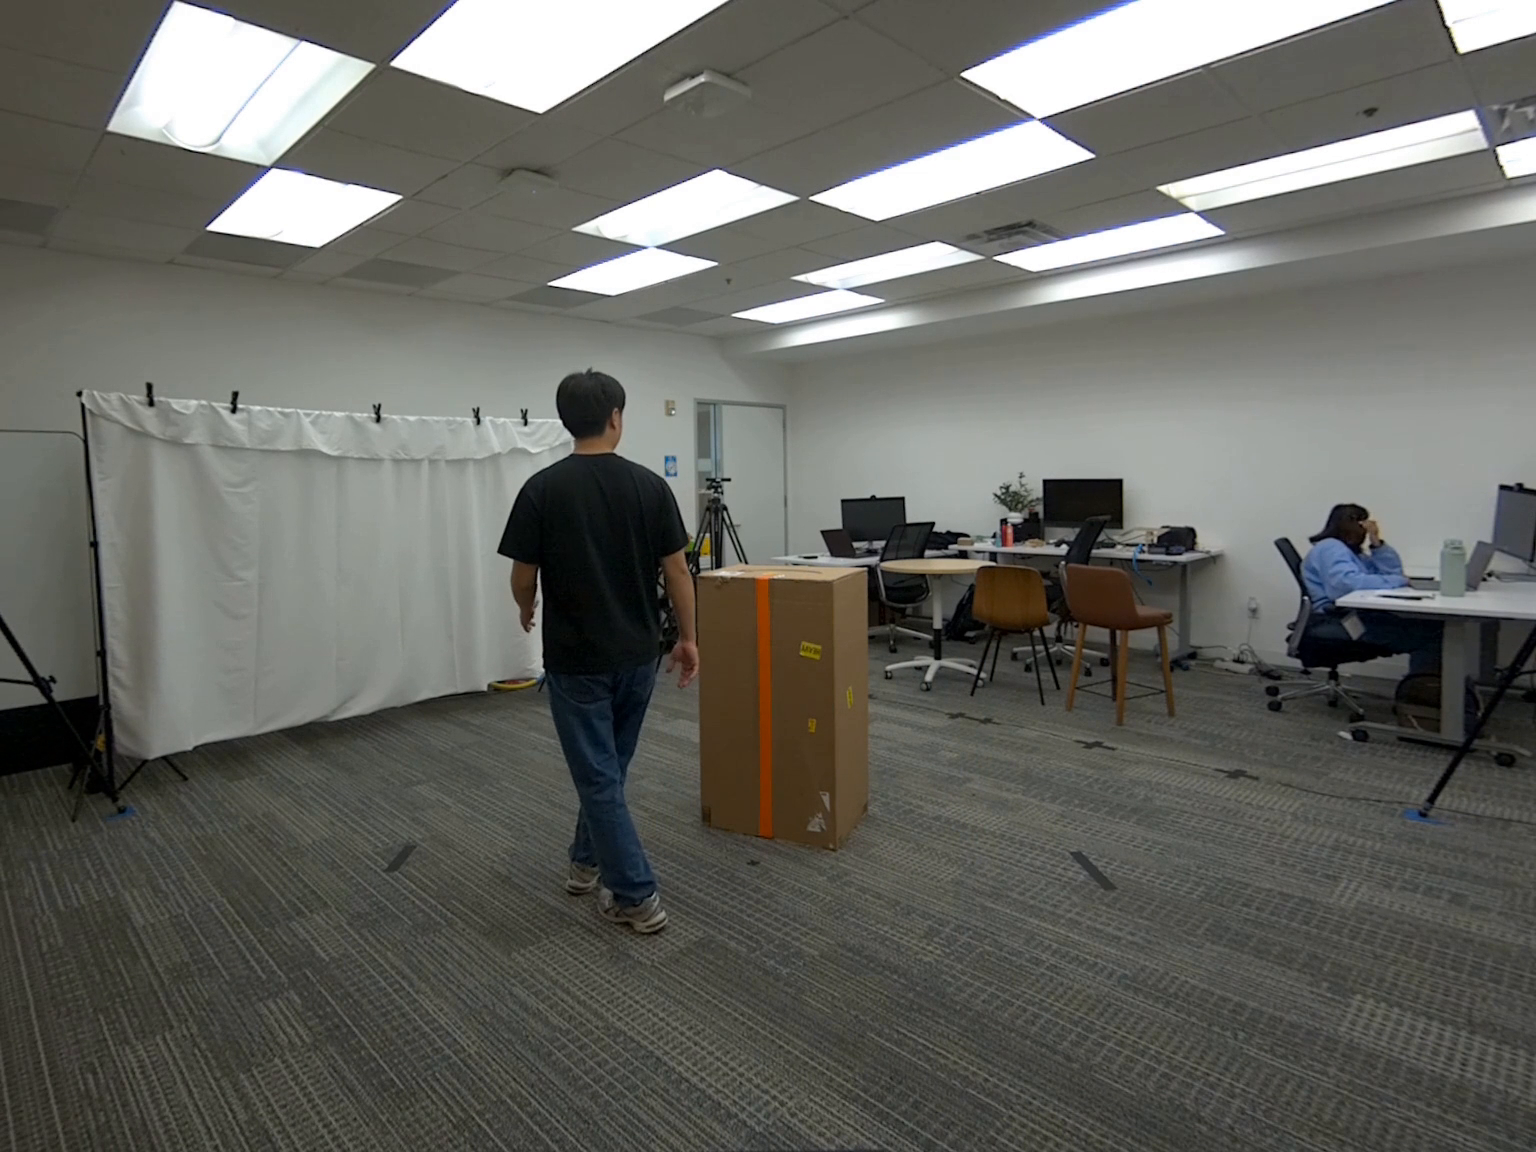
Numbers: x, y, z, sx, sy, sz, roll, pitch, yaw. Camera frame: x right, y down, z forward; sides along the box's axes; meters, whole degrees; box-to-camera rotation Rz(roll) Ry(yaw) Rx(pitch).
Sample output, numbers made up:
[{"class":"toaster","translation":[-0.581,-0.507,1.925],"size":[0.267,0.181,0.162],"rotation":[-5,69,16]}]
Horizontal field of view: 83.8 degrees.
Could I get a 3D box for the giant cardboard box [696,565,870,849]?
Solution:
[{"class":"giant cardboard box","translation":[0.071,0.486,3.472],"size":[0.598,1.022,0.438],"rotation":[2,6,27]}]
